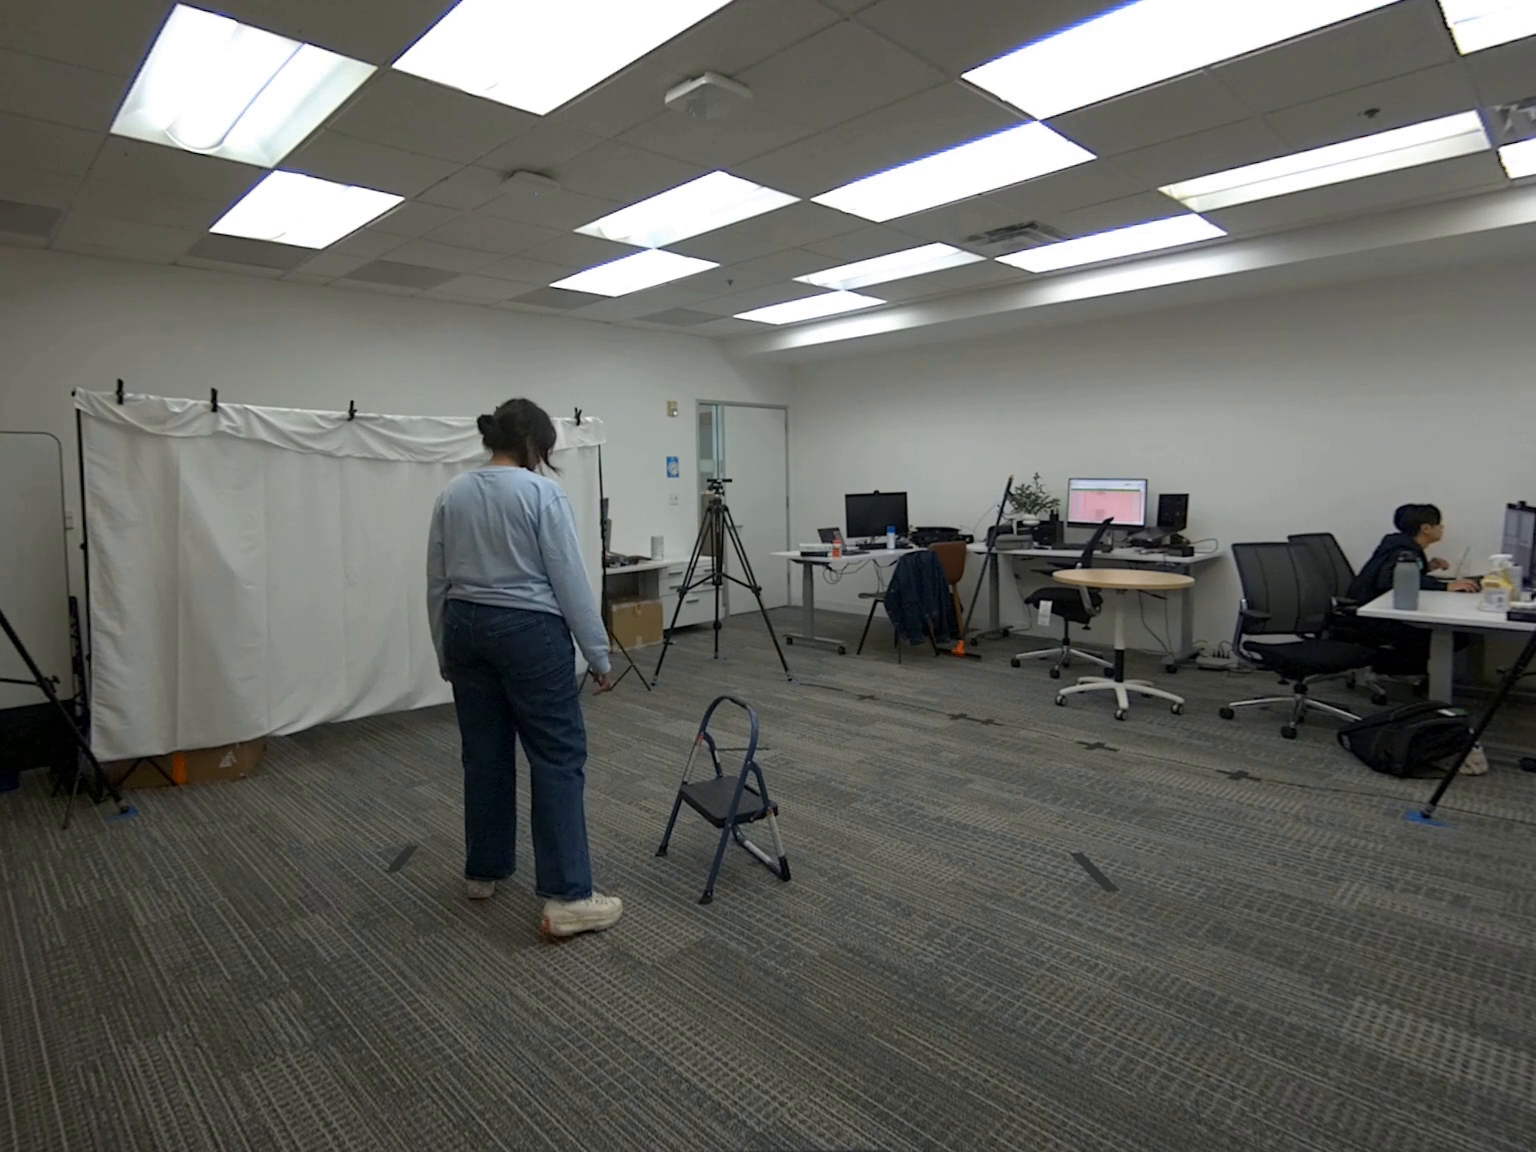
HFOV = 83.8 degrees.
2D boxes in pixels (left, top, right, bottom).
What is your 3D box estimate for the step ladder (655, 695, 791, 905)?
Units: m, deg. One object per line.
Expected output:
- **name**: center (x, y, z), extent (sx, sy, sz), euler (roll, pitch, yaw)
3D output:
- **step ladder**: center (-0.168, 0.750, 3.061), extent (0.341, 0.604, 0.442), euler (-3, 5, -28)
